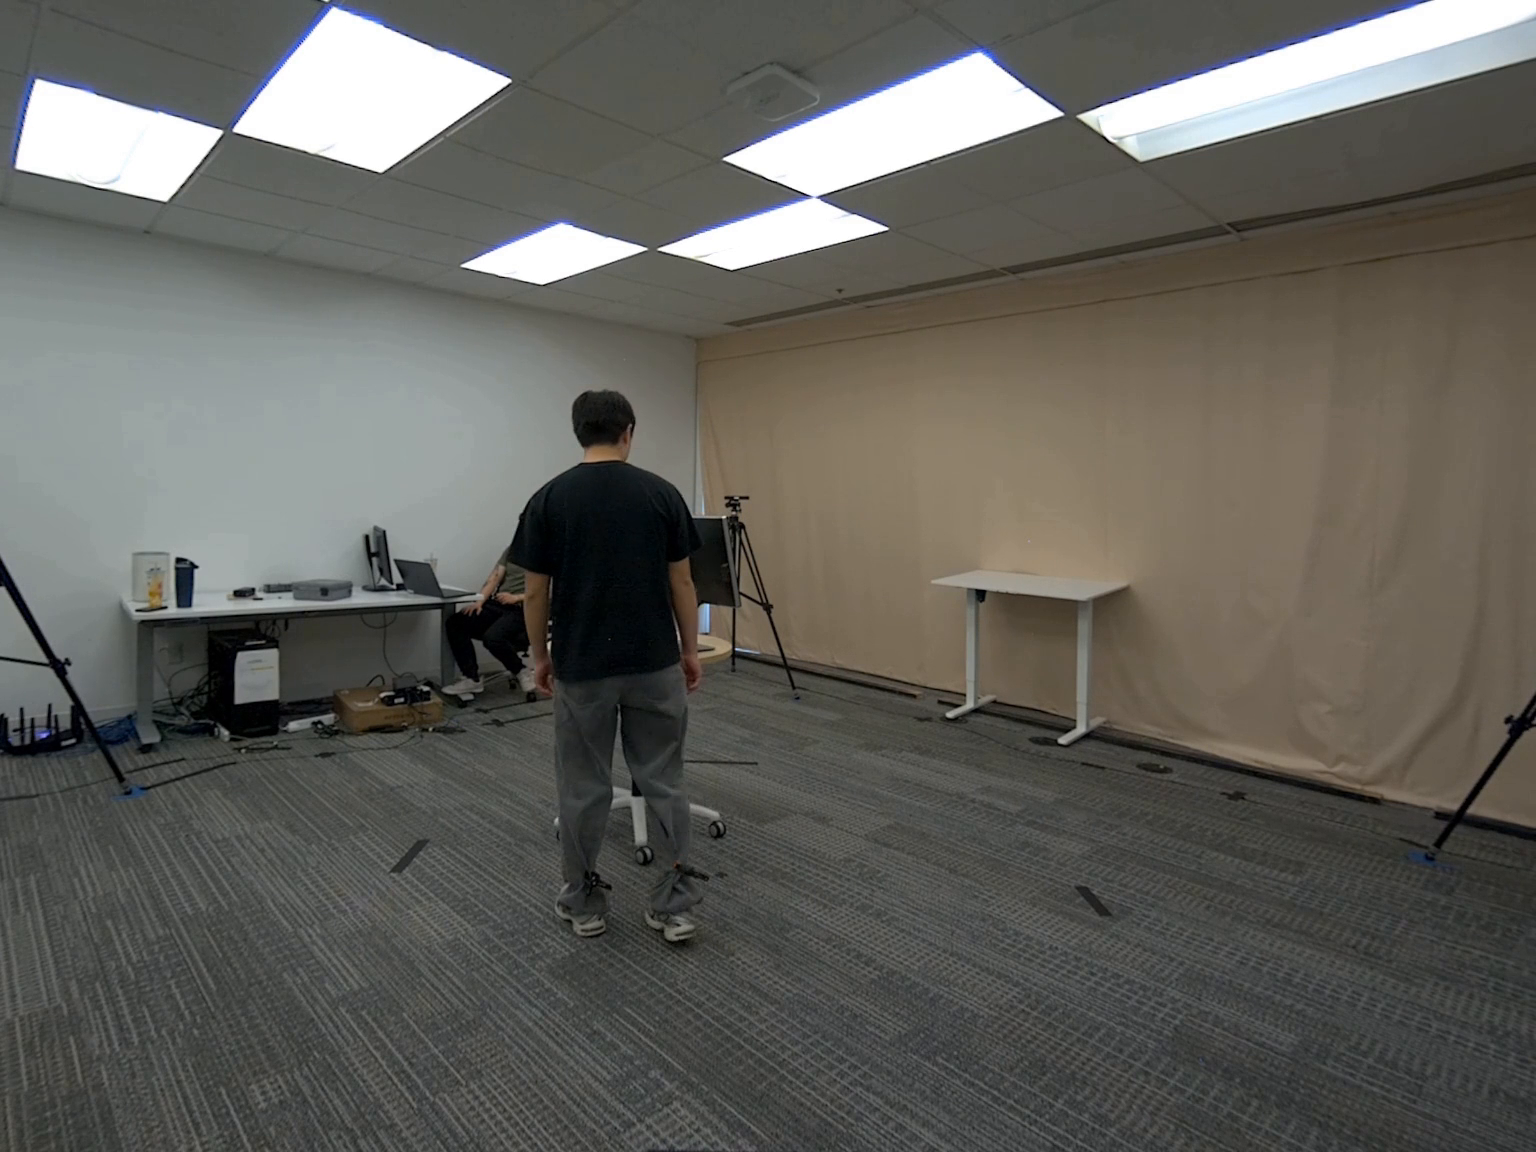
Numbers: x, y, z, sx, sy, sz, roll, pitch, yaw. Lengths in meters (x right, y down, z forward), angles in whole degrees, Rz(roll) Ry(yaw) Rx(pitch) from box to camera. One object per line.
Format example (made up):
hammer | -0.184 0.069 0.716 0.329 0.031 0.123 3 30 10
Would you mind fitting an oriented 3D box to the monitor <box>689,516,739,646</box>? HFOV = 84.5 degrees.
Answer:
monitor | -0.379 0.031 3.400 0.206 0.551 0.580 -10 10 -42
